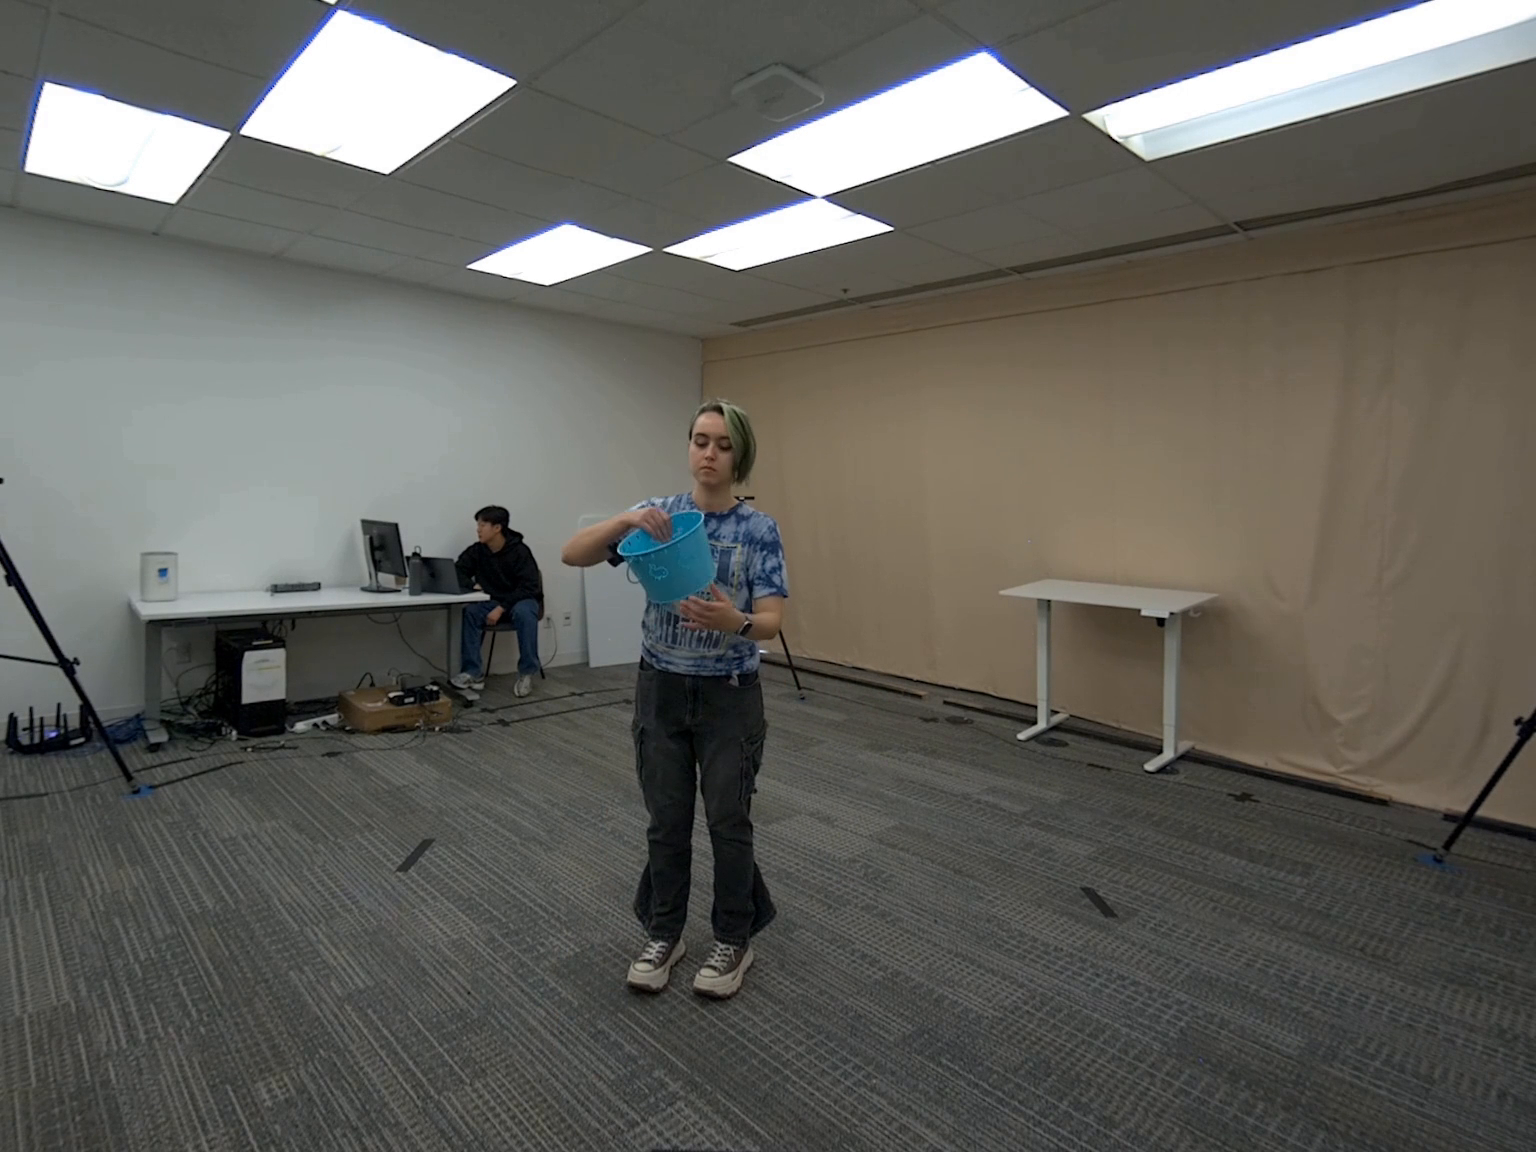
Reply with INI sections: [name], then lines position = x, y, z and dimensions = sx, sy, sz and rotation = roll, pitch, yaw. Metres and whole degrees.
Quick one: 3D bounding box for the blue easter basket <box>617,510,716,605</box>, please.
[blue easter basket]
position = -0.250, -0.030, 2.095
dimensions = 0.244, 0.153, 0.247
rotation = -20, 22, 7
